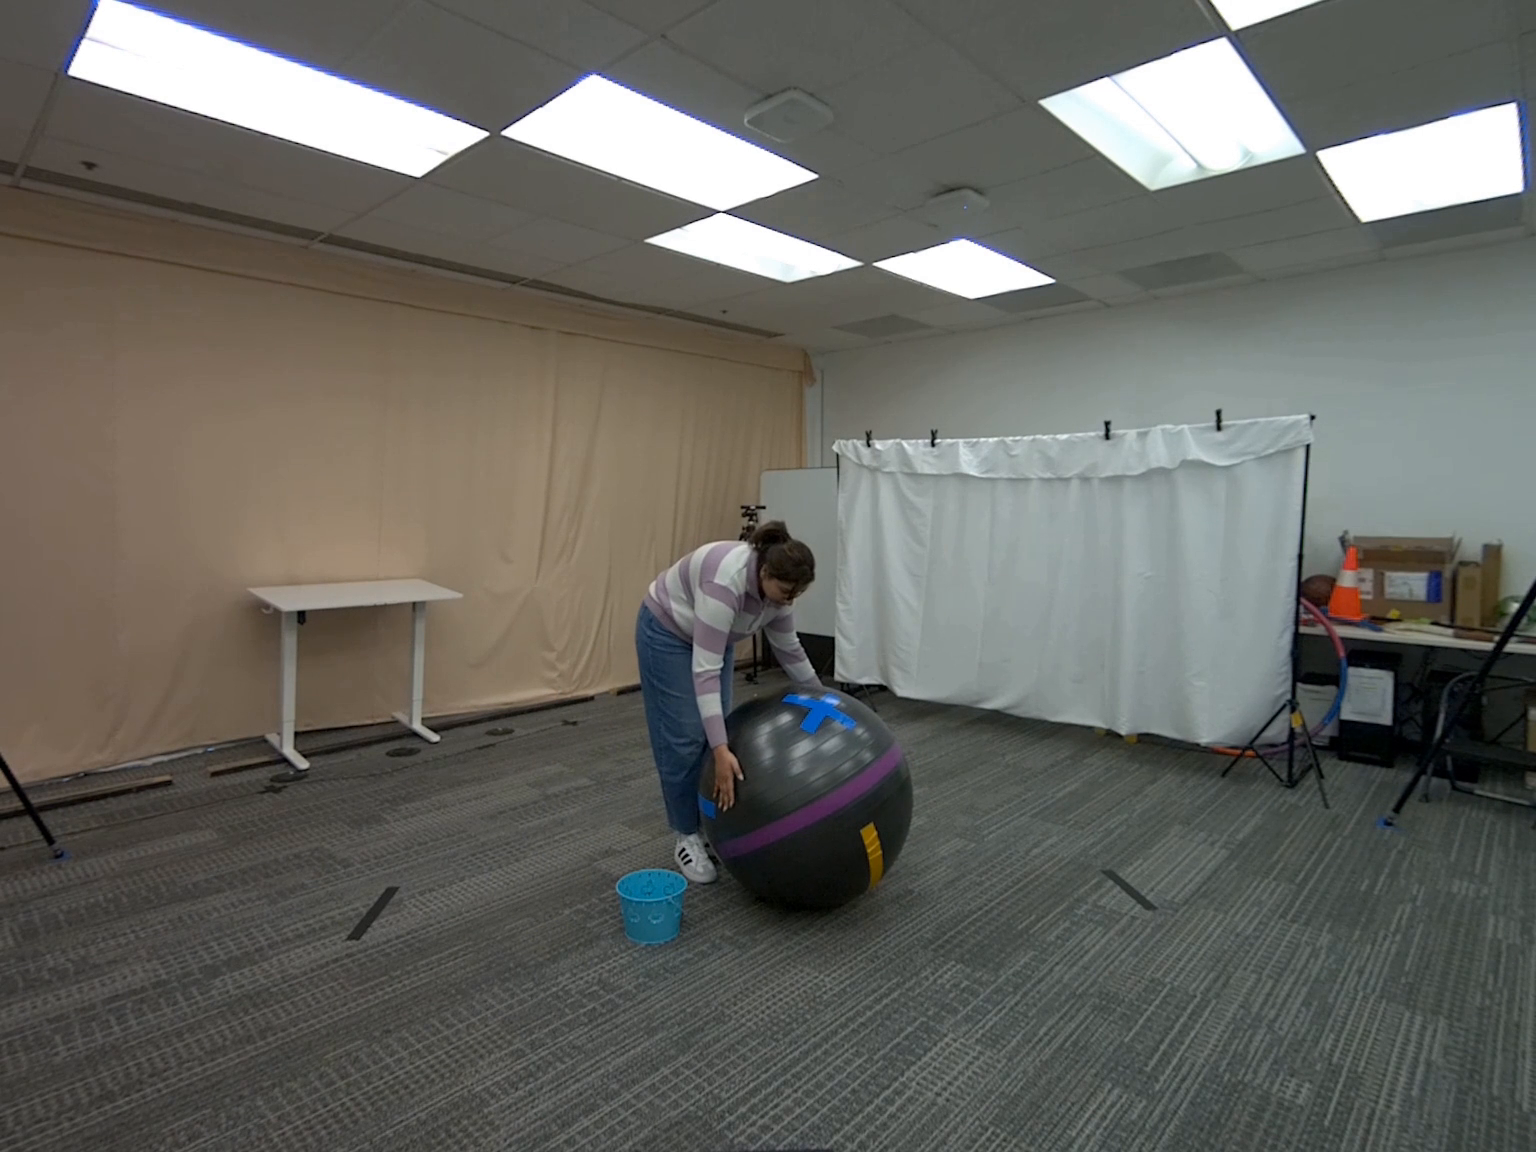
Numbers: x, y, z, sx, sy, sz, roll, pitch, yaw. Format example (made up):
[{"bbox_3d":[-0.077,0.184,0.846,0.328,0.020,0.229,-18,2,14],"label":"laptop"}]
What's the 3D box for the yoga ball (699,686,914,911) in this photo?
[{"bbox_3d":[0.120,0.778,2.990,0.757,0.756,0.760,0,4,-2],"label":"yoga ball"}]
